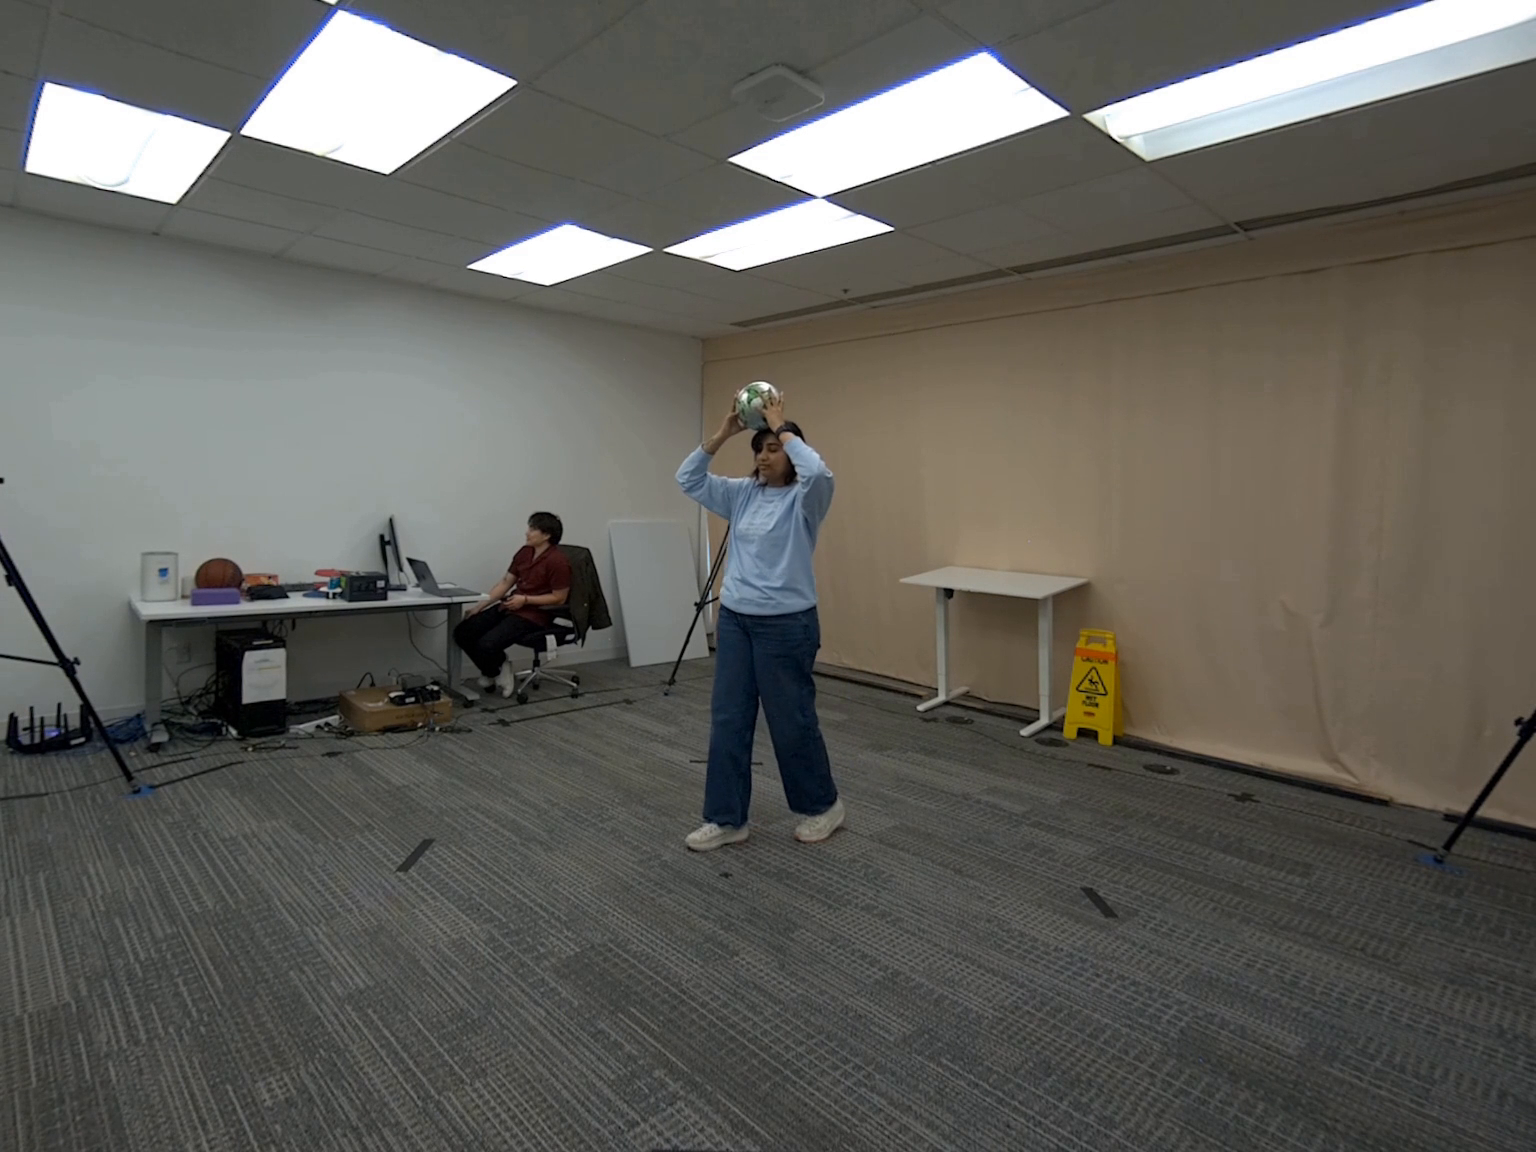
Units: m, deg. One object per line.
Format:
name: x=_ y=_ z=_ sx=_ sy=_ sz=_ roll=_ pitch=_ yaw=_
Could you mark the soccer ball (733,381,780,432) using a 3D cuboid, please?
soccer ball: x=-0.033 y=-0.653 z=3.258 sx=0.187 sy=0.187 sz=0.188 roll=1 pitch=4 yaw=-1
